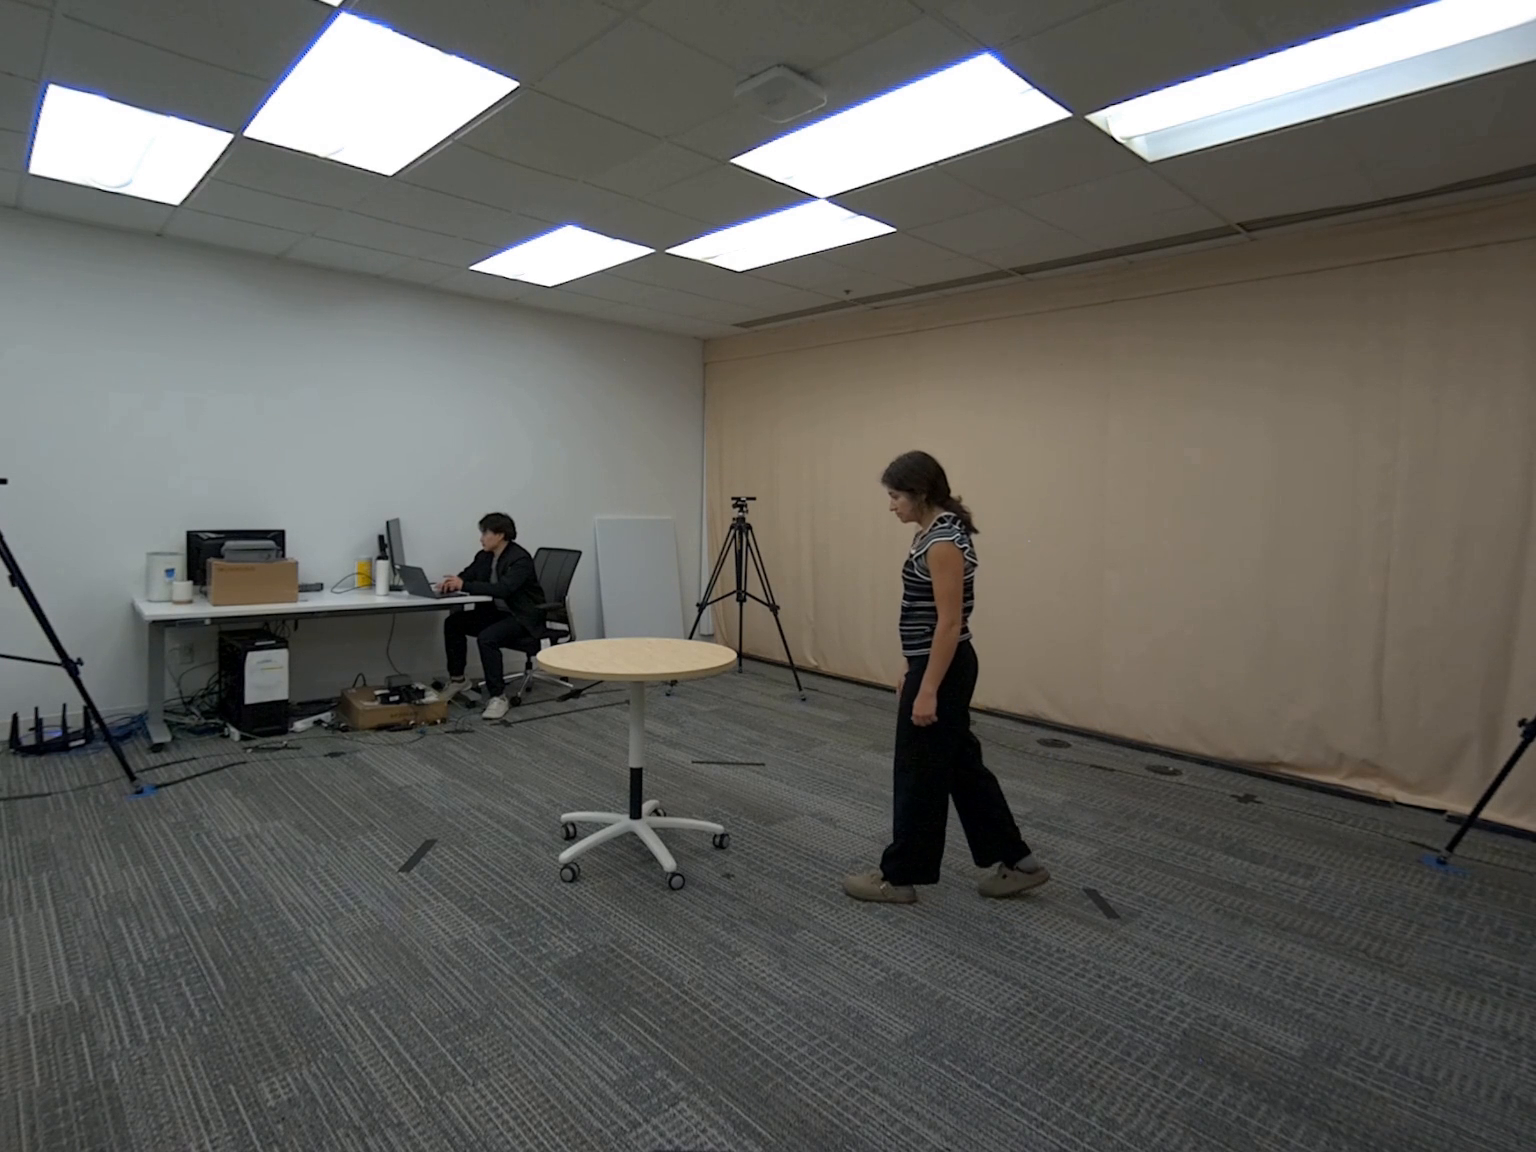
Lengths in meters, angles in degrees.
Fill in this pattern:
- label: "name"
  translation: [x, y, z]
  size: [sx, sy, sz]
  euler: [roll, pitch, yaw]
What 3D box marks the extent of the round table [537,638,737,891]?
- label: "round table"
  translation: [-0.508, 0.692, 3.268]
  size: [0.763, 0.792, 0.766]
  euler: [1, 4, -1]
